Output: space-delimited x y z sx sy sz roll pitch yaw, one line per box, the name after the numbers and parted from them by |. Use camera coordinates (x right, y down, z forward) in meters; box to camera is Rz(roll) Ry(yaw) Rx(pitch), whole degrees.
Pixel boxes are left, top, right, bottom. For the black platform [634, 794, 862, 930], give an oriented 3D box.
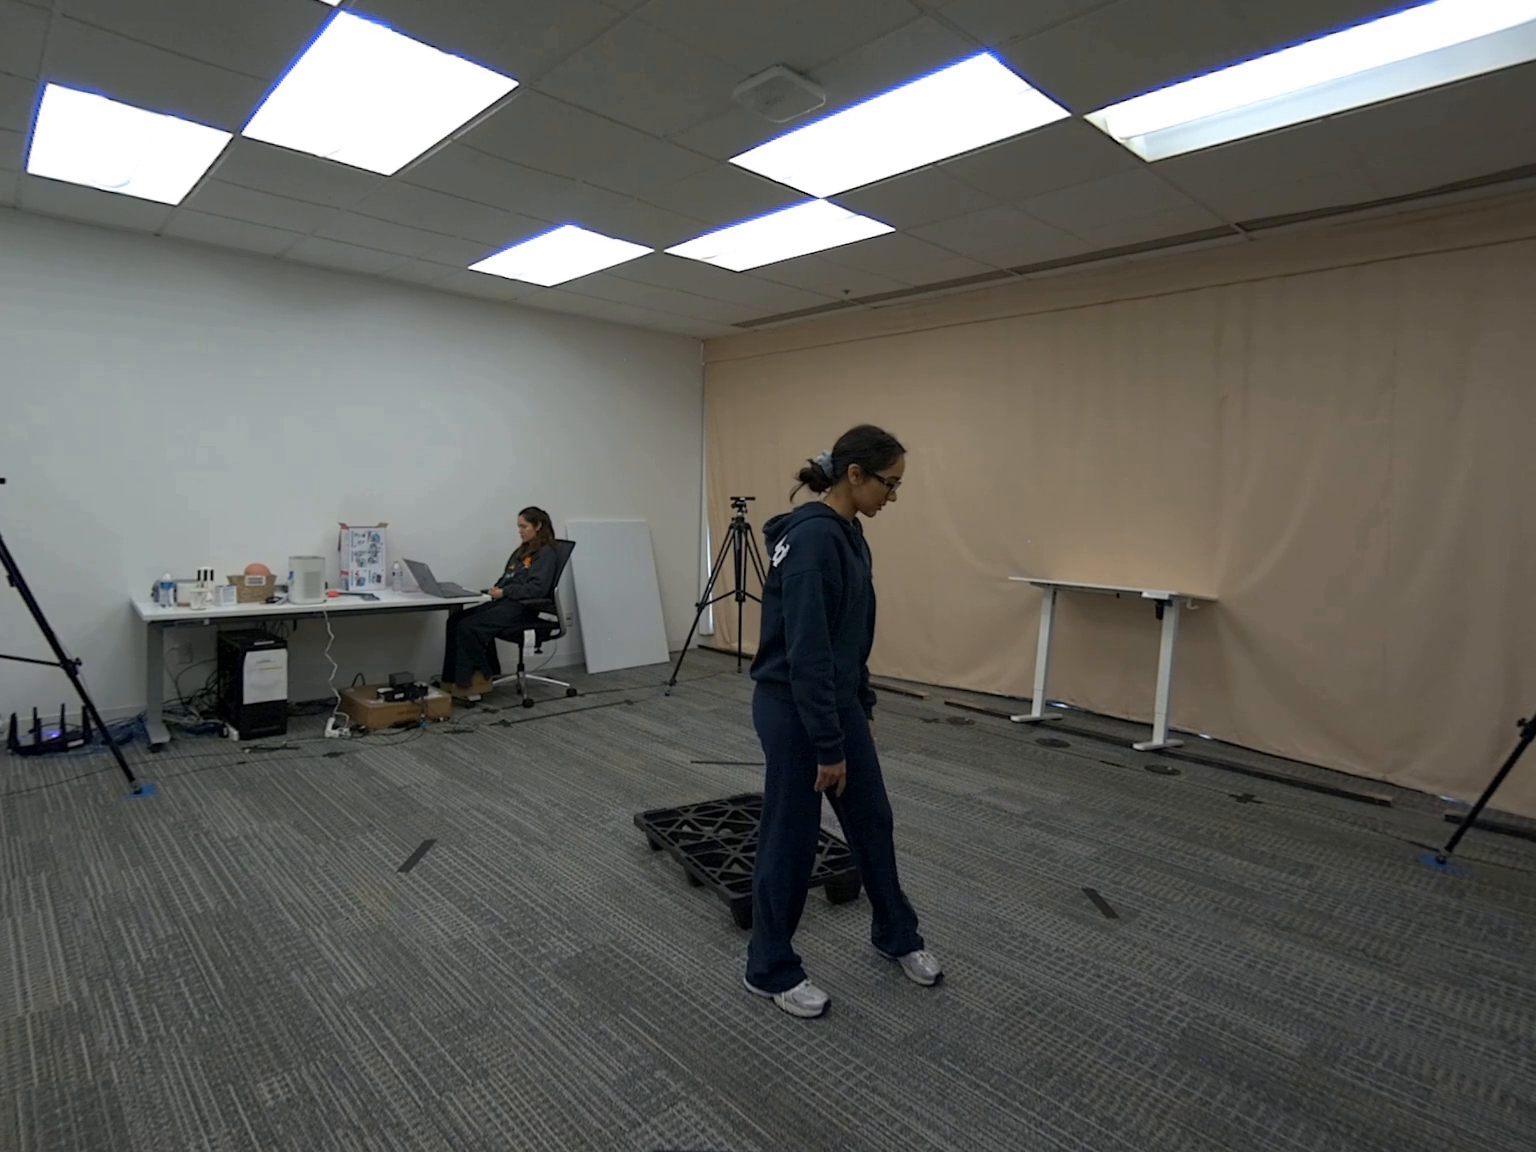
-0.082 1.038 3.144 0.592 0.143 0.825 -1 6 -32 | black platform
